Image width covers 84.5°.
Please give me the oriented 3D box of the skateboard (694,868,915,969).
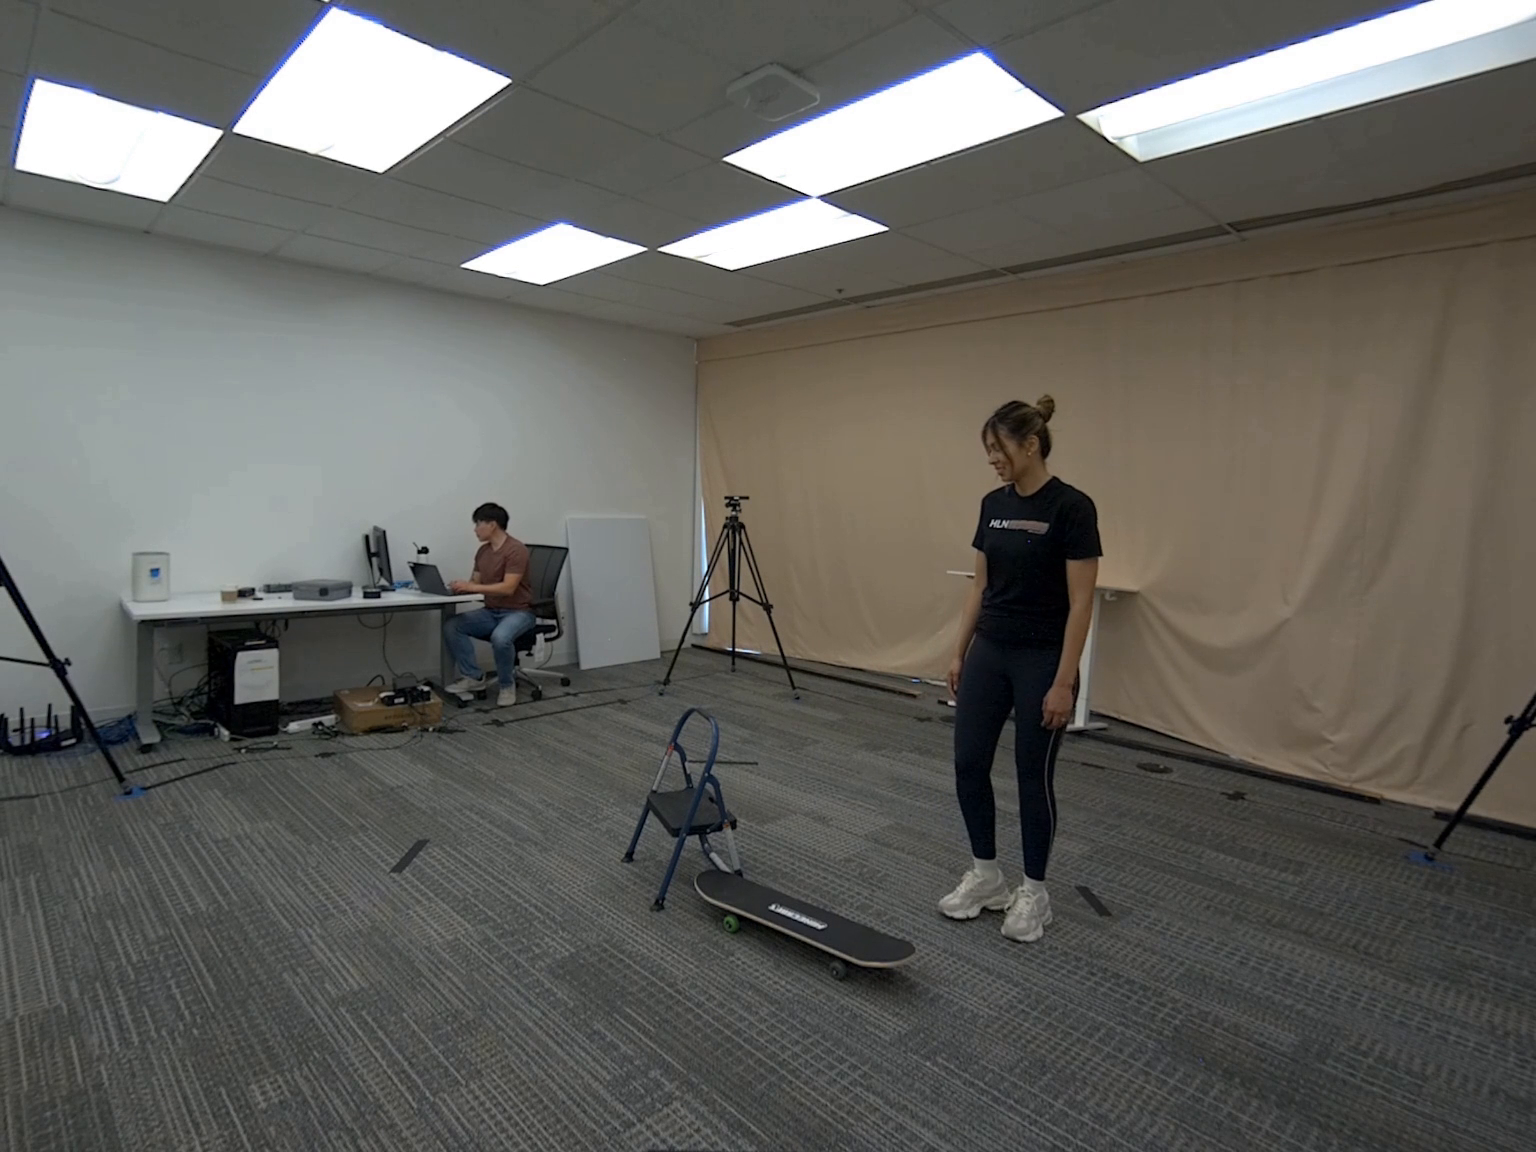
[{"bbox_3d":[0.084,1.098,2.627,0.805,0.110,0.189,5,5,37],"label":"skateboard"}]
